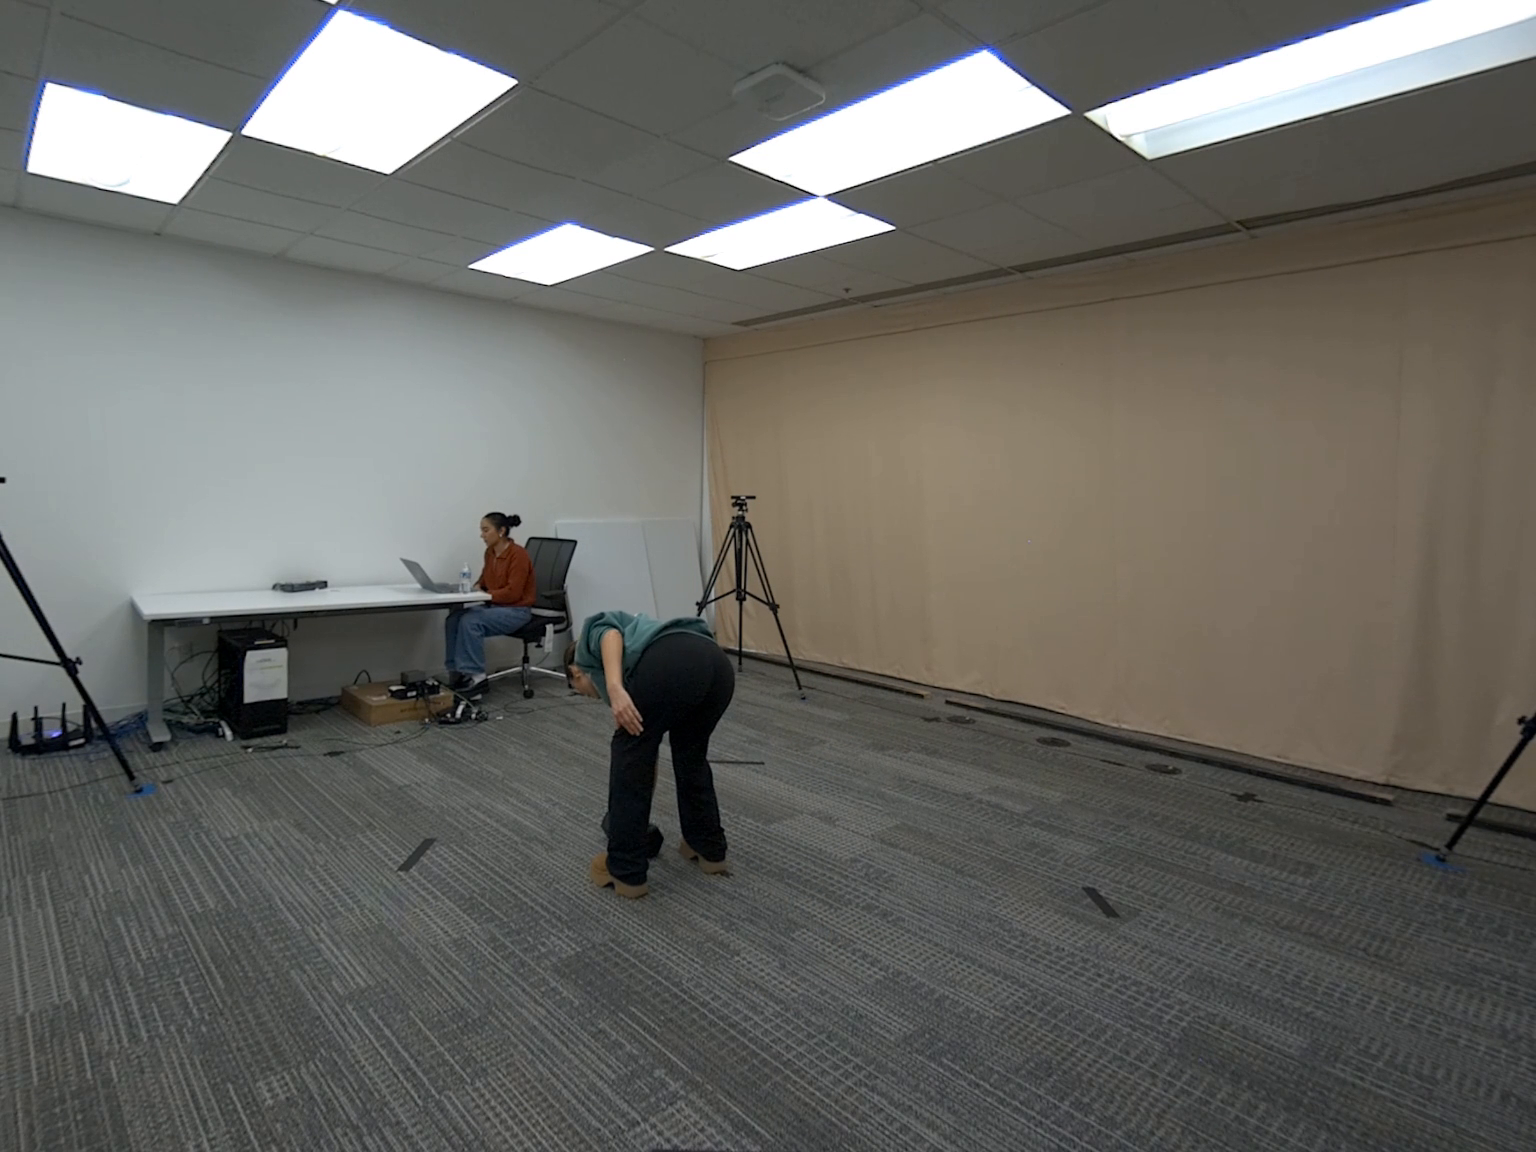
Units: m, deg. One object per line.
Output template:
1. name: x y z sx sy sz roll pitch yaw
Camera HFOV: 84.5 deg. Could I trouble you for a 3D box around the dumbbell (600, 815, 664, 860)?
1. dumbbell: -0.542 1.007 3.332 0.120 0.108 0.301 -4 6 -42
